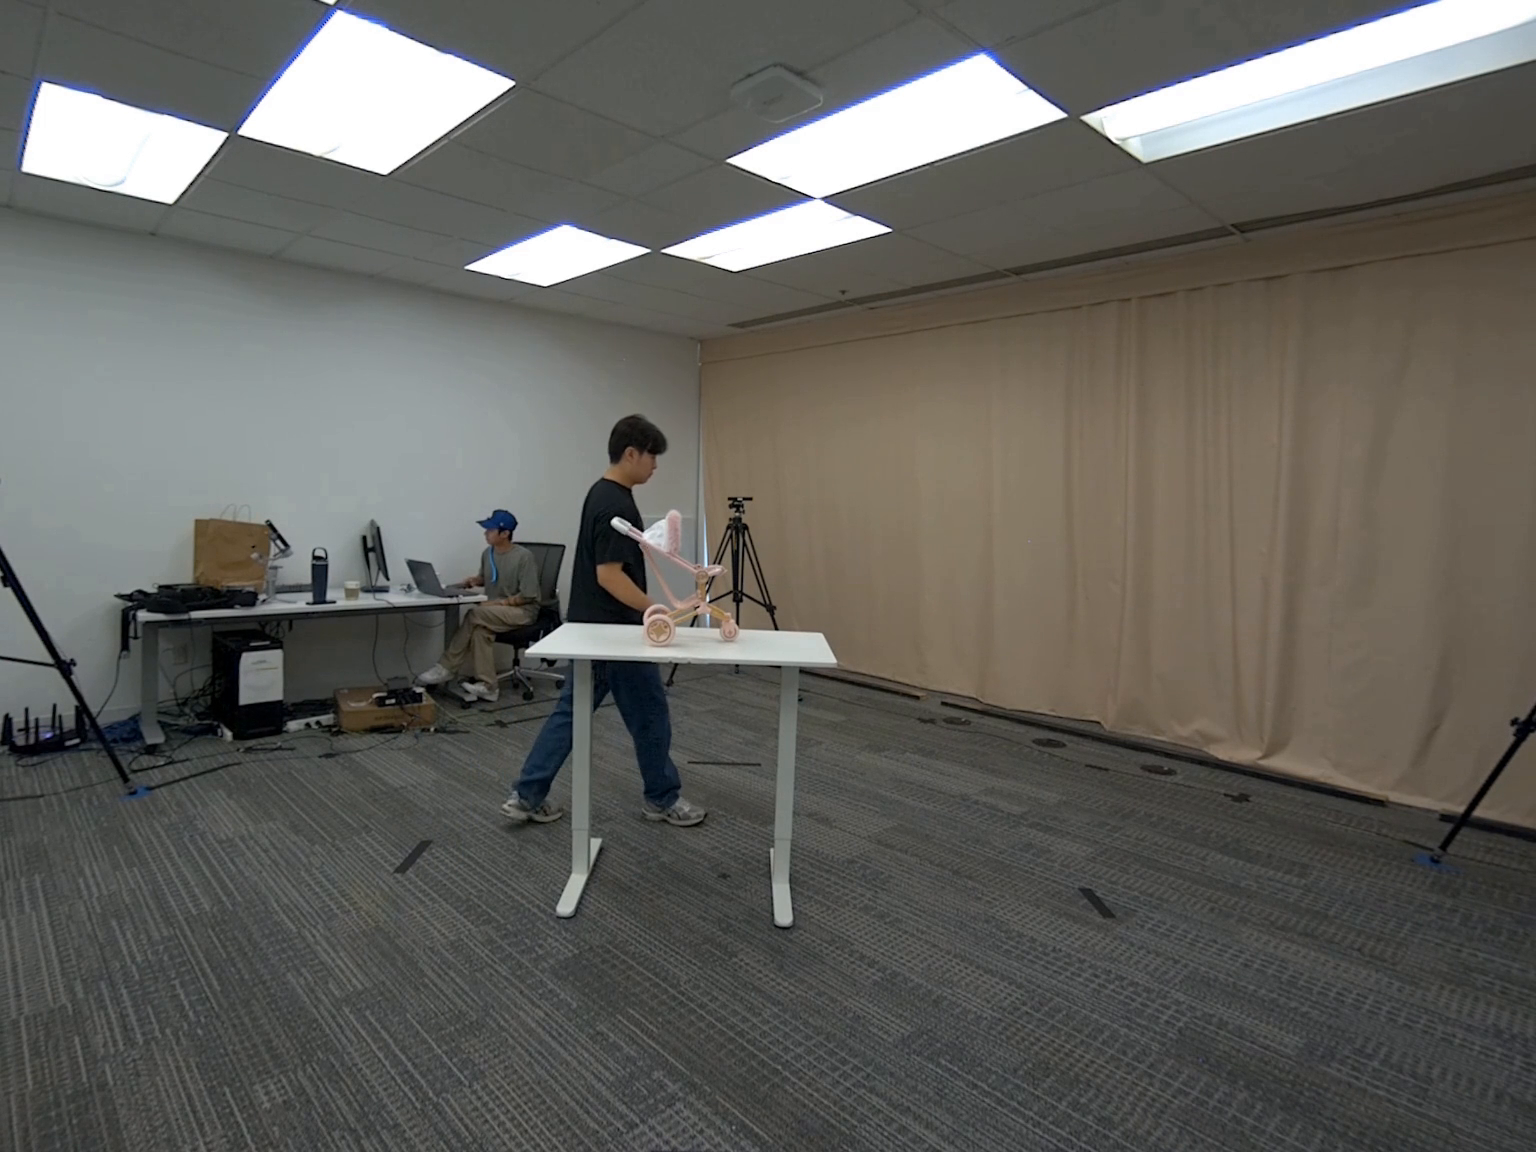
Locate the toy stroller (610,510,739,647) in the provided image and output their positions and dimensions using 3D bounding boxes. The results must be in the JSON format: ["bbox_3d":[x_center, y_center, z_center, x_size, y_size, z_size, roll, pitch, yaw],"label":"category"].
[{"bbox_3d":[-0.324,0.010,2.969,0.341,0.533,0.283,-14,5,-2],"label":"toy stroller"}]
